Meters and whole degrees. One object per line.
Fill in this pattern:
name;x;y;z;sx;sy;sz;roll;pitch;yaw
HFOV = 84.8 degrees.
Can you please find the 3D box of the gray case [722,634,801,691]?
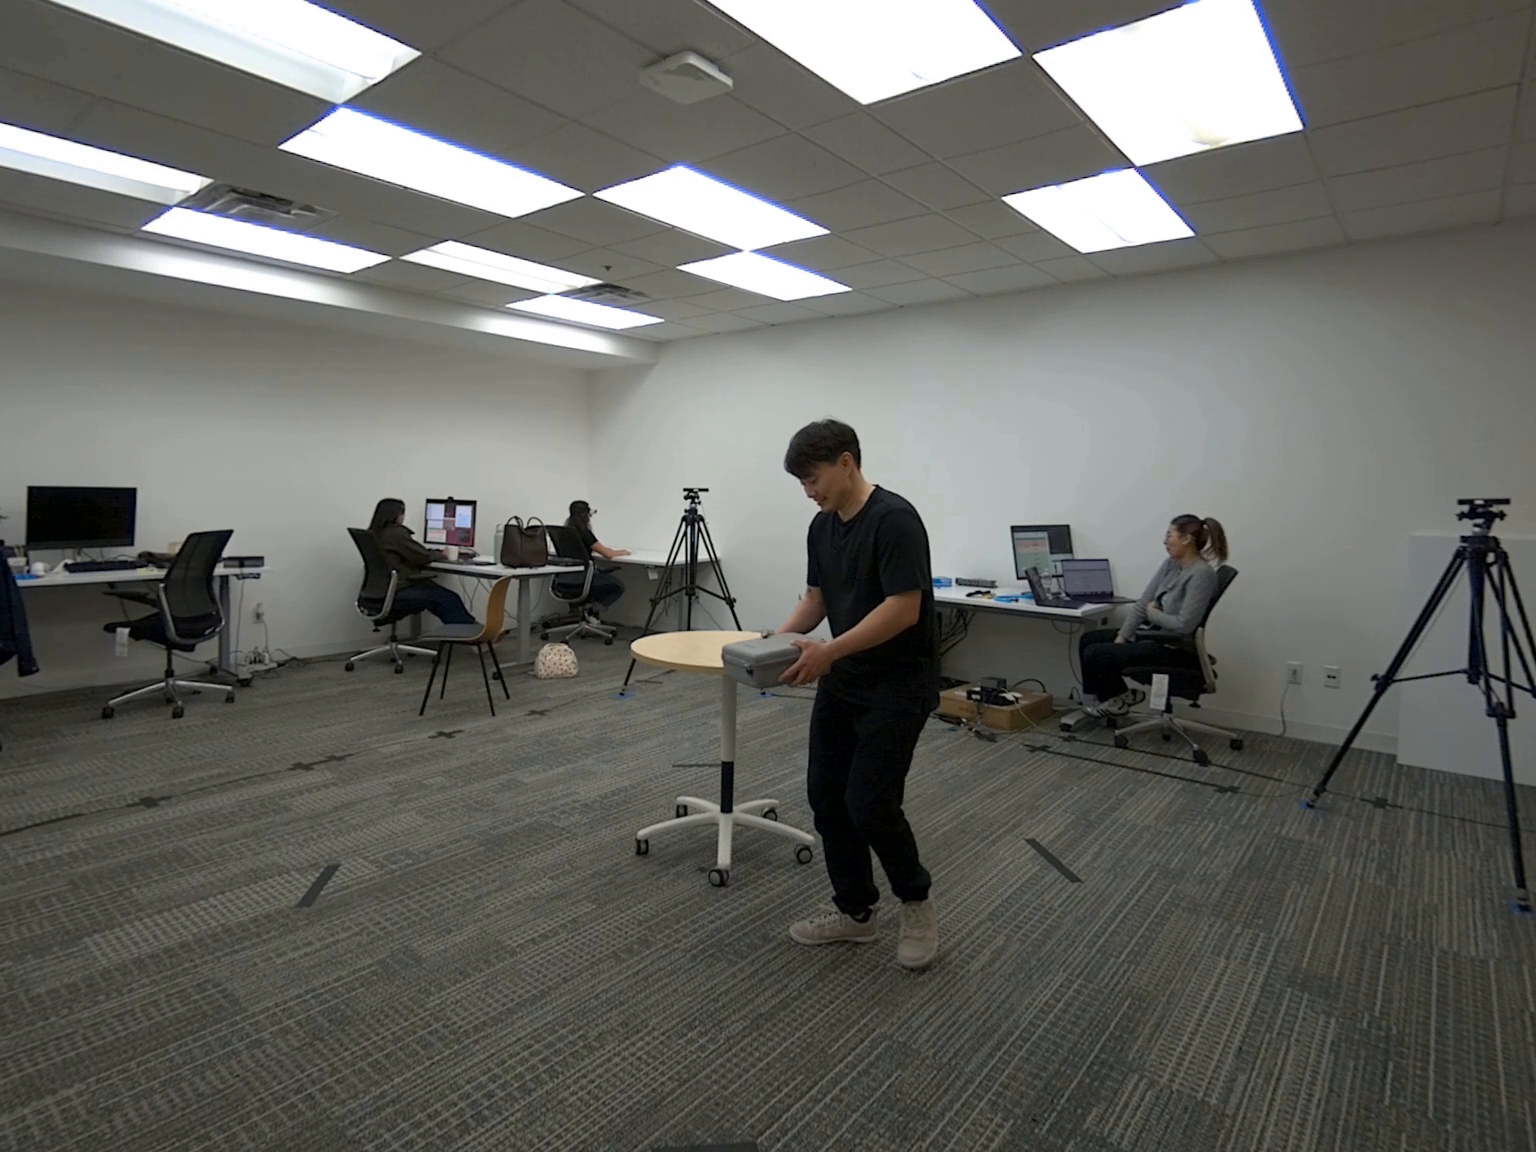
gray case;0.014;0.245;2.499;0.256;0.104;0.262;-7;6;-19
